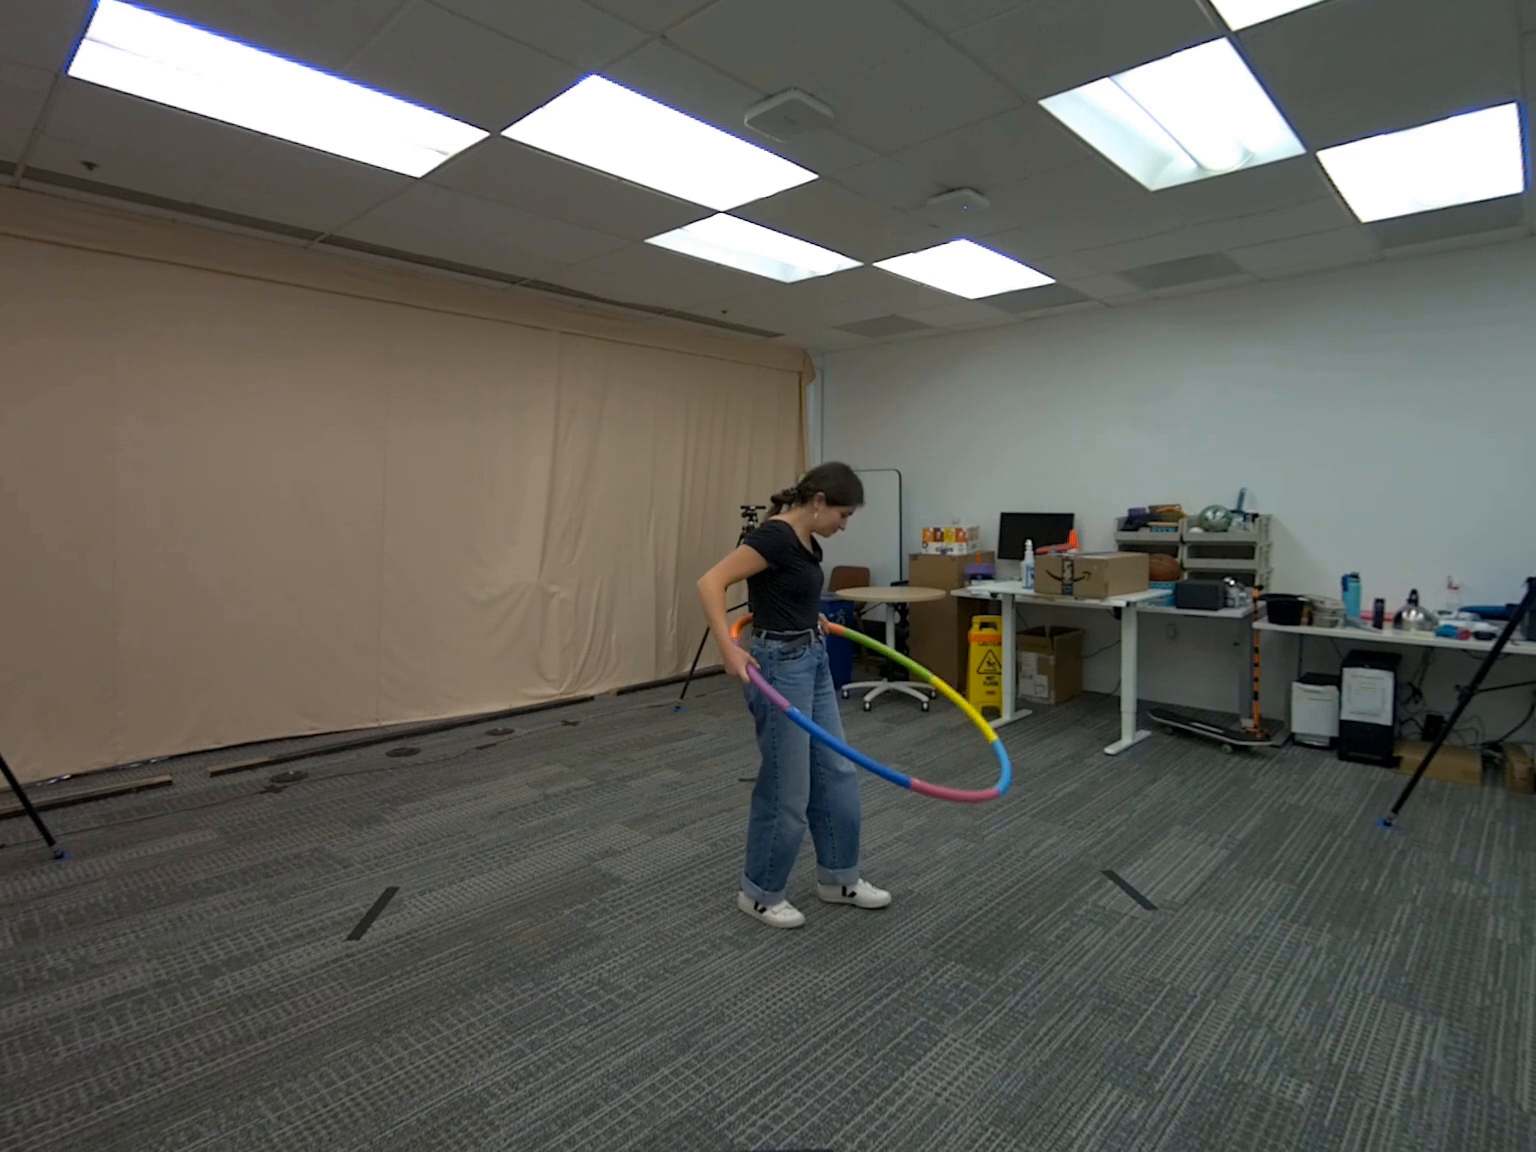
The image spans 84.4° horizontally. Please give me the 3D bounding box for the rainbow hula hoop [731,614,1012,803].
[{"bbox_3d":[0.334,0.396,2.728,0.968,0.035,0.992,22,18,-10],"label":"rainbow hula hoop"}]
